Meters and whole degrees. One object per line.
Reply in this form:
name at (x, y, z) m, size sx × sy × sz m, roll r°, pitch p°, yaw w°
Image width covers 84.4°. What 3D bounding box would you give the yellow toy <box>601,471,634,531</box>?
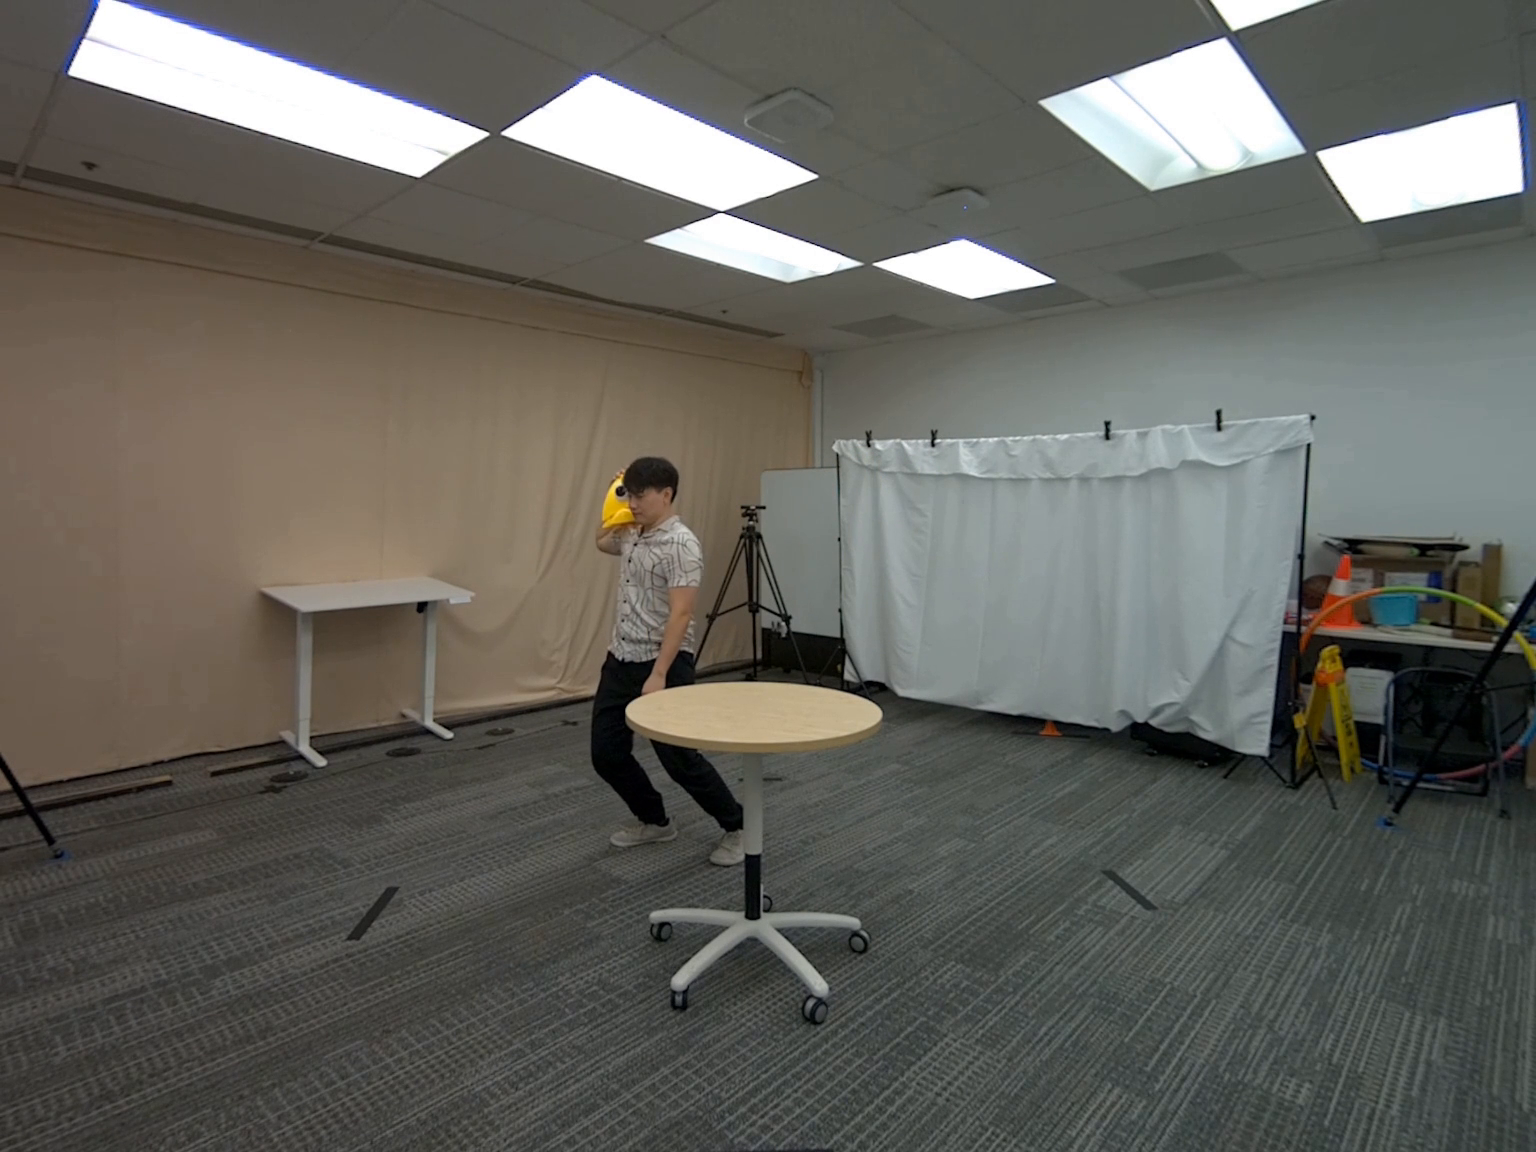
yellow toy at (-0.617, -0.333, 3.545) m, size 0.189 × 0.231 × 0.208 m, roll -10°, pitch -1°, yaw -21°
